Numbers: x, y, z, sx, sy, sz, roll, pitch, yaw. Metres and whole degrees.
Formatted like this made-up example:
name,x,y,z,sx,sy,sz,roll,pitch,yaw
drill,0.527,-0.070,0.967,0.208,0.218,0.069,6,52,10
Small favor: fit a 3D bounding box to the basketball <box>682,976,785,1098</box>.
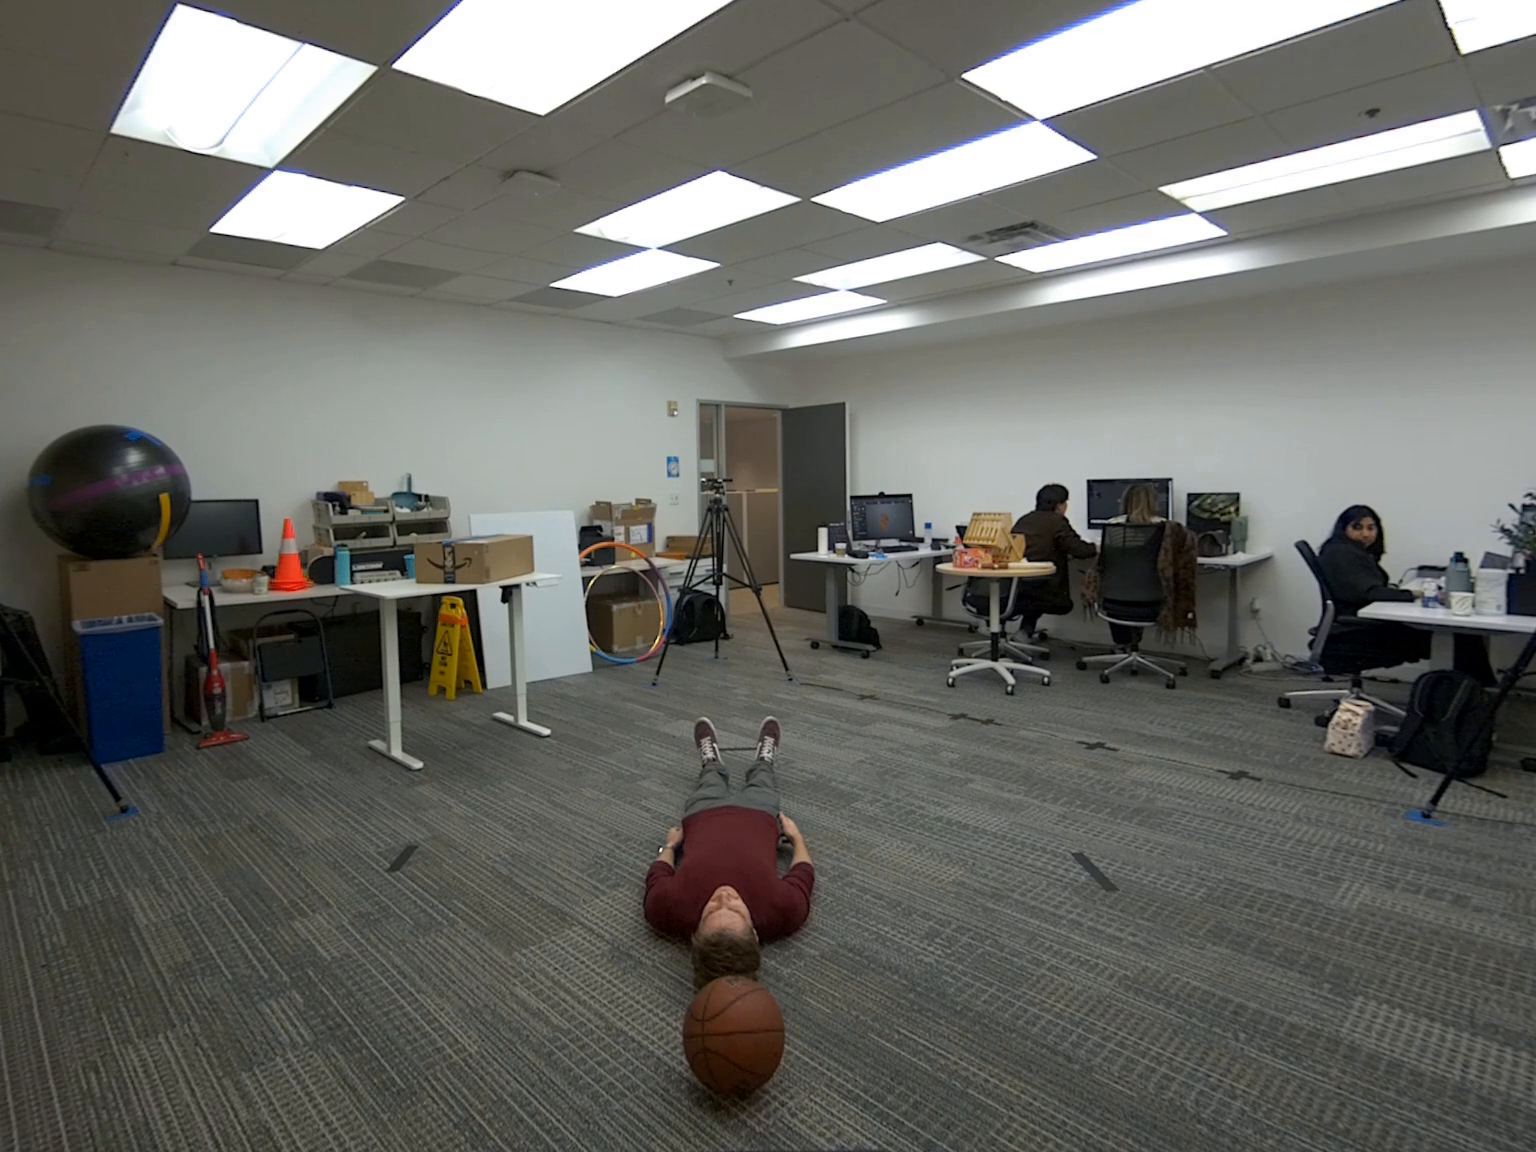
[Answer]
name,x,y,z,sx,sy,sz,roll,pitch,yaw
basketball,-0.068,1.060,1.975,0.236,0.235,0.237,-1,5,-2
